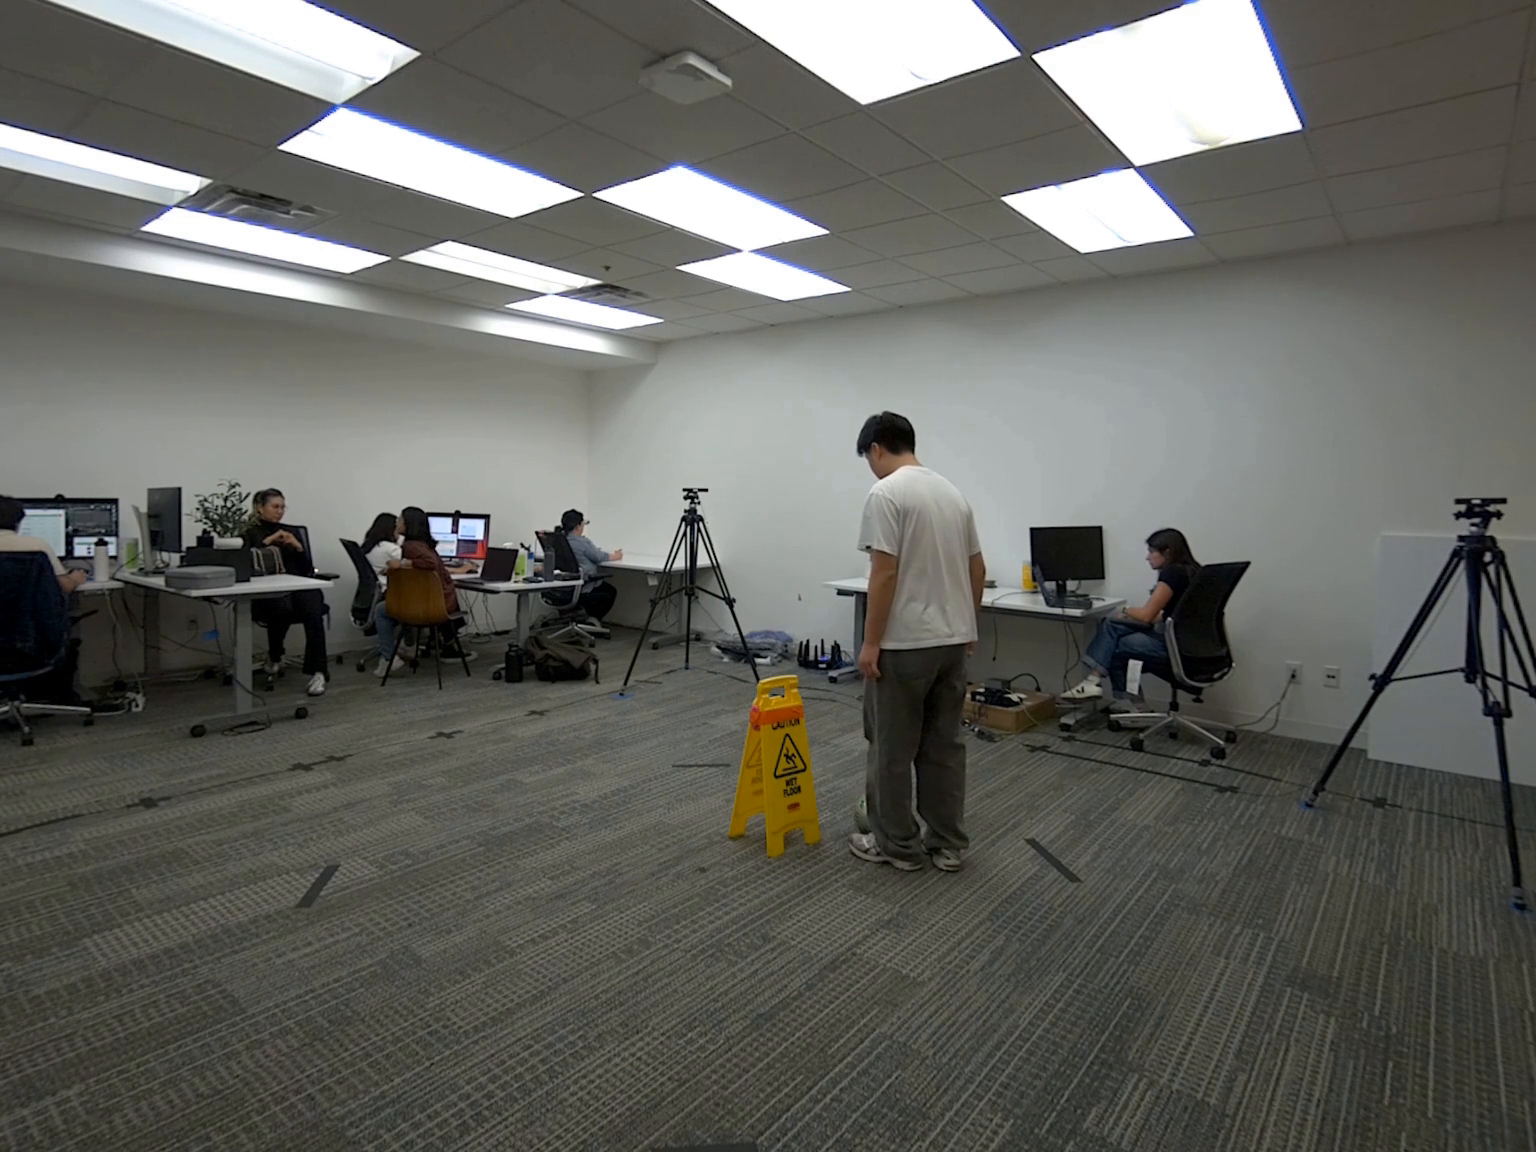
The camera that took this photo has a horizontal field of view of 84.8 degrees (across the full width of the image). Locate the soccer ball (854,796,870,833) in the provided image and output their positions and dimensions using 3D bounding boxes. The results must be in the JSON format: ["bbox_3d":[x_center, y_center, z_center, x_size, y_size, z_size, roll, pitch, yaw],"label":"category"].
[{"bbox_3d":[0.447,0.950,3.409,0.187,0.187,0.188,1,4,-2],"label":"soccer ball"}]
